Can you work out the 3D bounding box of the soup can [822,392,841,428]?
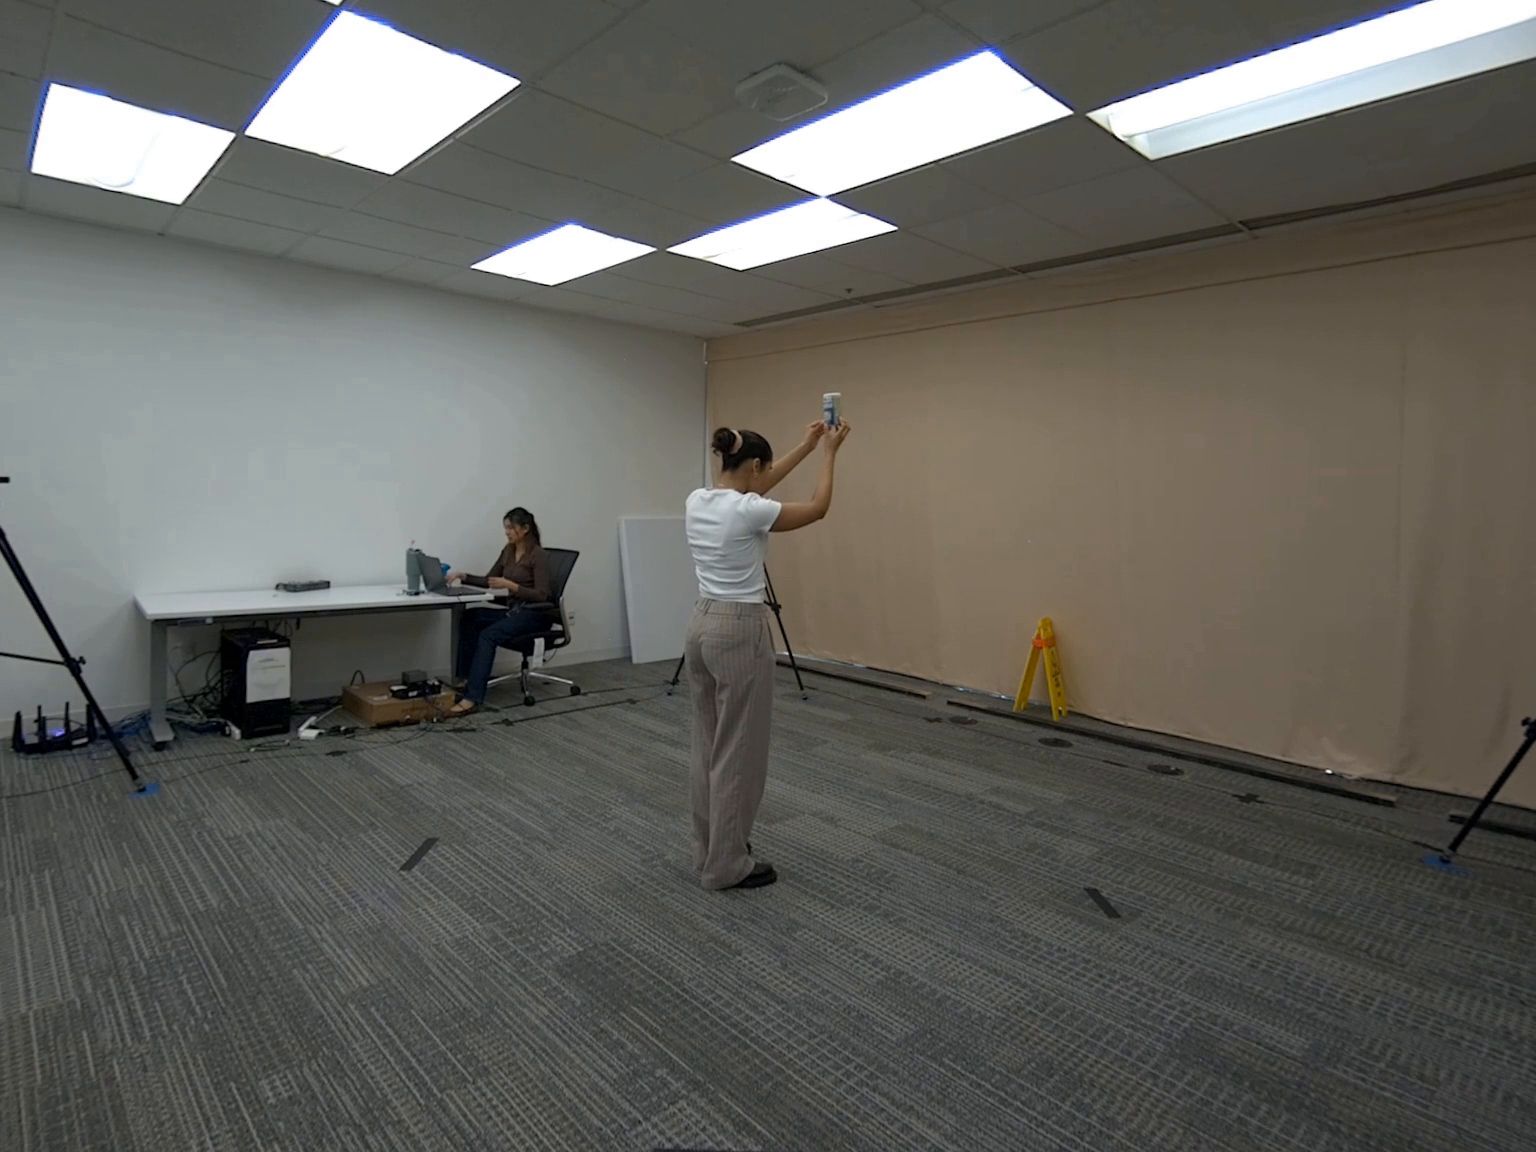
[{"bbox_3d":[0.236,-0.626,3.168,0.067,0.121,0.067,-3,7,-1],"label":"soup can"}]
